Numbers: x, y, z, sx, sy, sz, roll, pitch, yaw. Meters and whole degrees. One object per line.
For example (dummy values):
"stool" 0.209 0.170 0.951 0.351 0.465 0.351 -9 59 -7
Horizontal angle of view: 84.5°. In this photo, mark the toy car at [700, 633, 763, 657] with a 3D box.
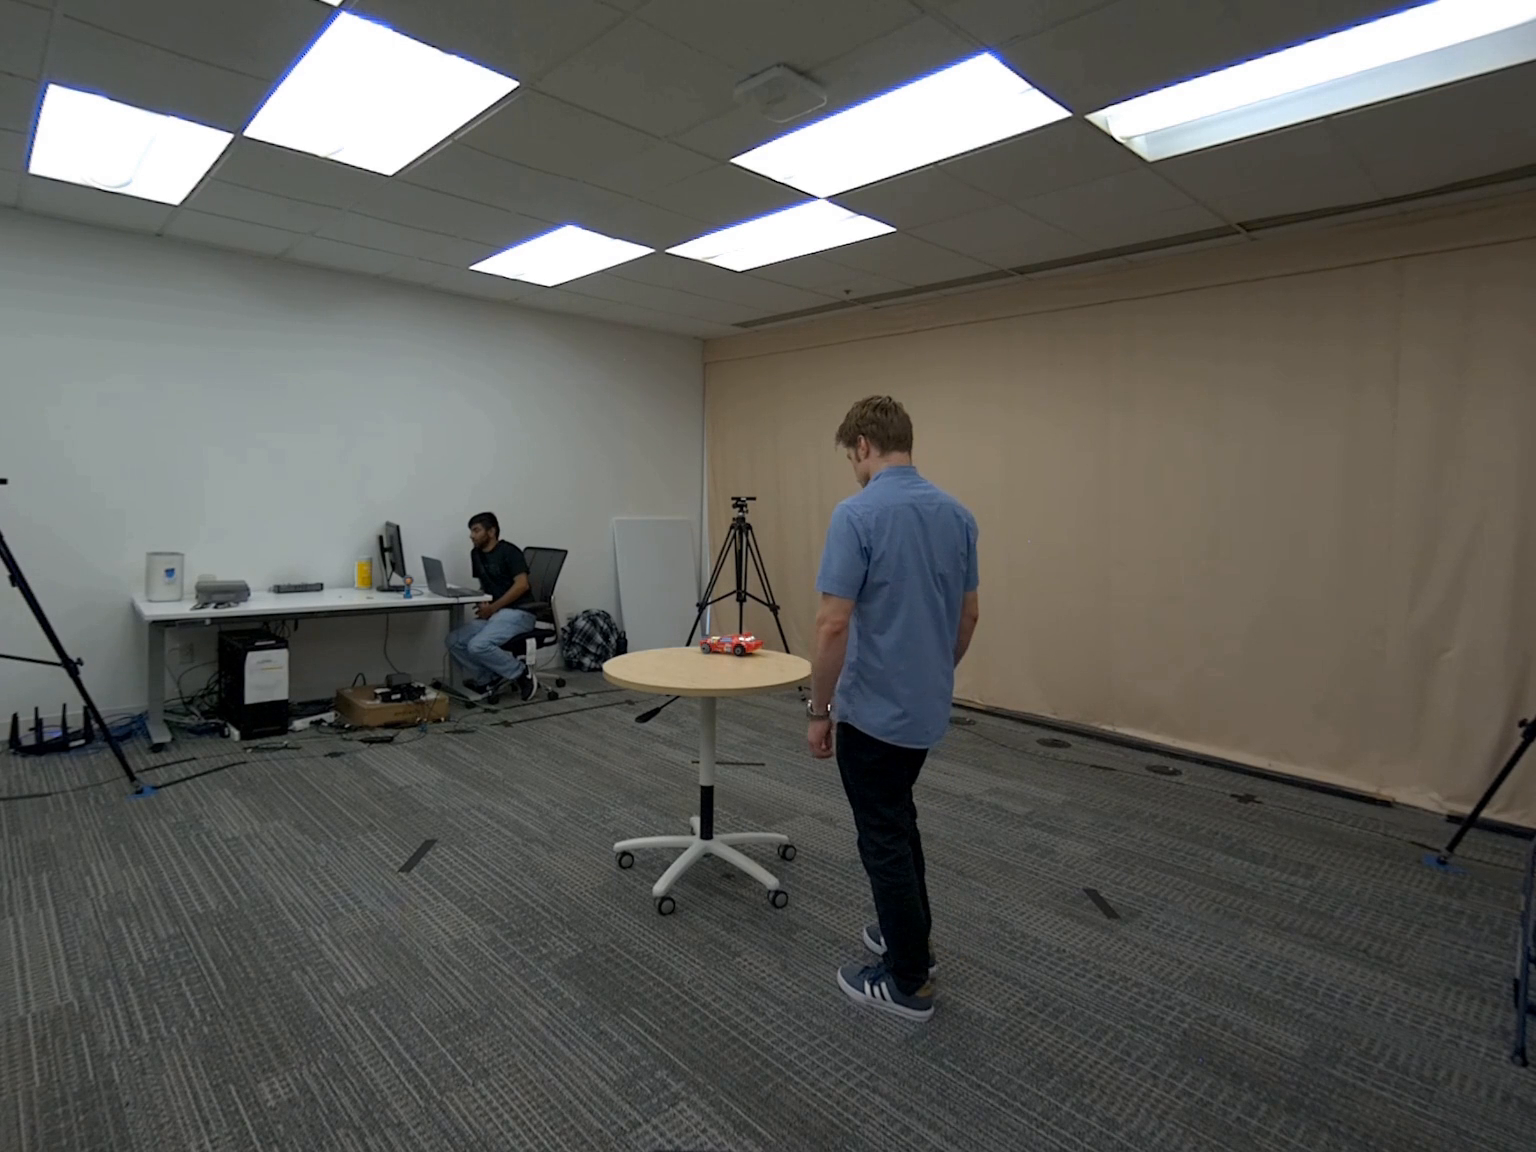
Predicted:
"toy car" -0.146 0.275 3.290 0.258 0.083 0.128 -9 0 24
